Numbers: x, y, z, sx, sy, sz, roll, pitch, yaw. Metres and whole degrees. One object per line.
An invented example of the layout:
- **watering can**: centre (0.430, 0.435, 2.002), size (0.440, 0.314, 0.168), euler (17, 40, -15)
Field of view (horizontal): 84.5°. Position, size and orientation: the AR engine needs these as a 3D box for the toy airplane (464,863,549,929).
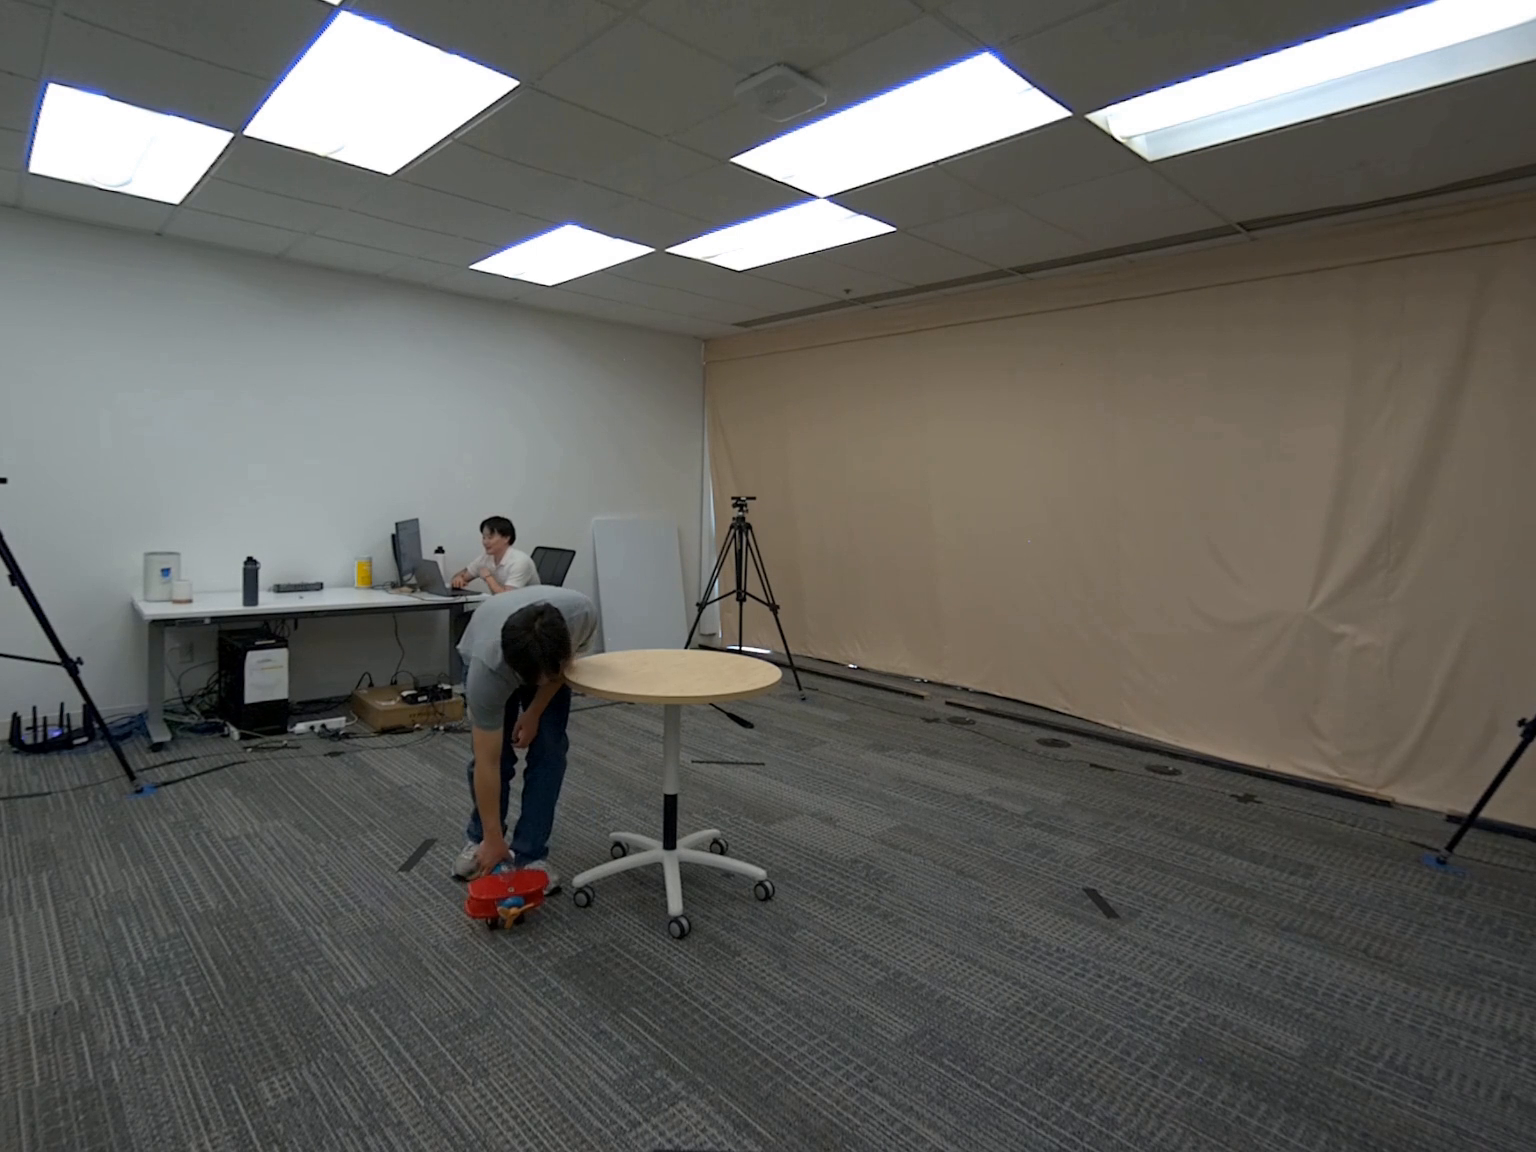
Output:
- **toy airplane**: centre (-0.877, 1.016, 2.714), size (0.264, 0.155, 0.248), euler (42, 39, 17)
